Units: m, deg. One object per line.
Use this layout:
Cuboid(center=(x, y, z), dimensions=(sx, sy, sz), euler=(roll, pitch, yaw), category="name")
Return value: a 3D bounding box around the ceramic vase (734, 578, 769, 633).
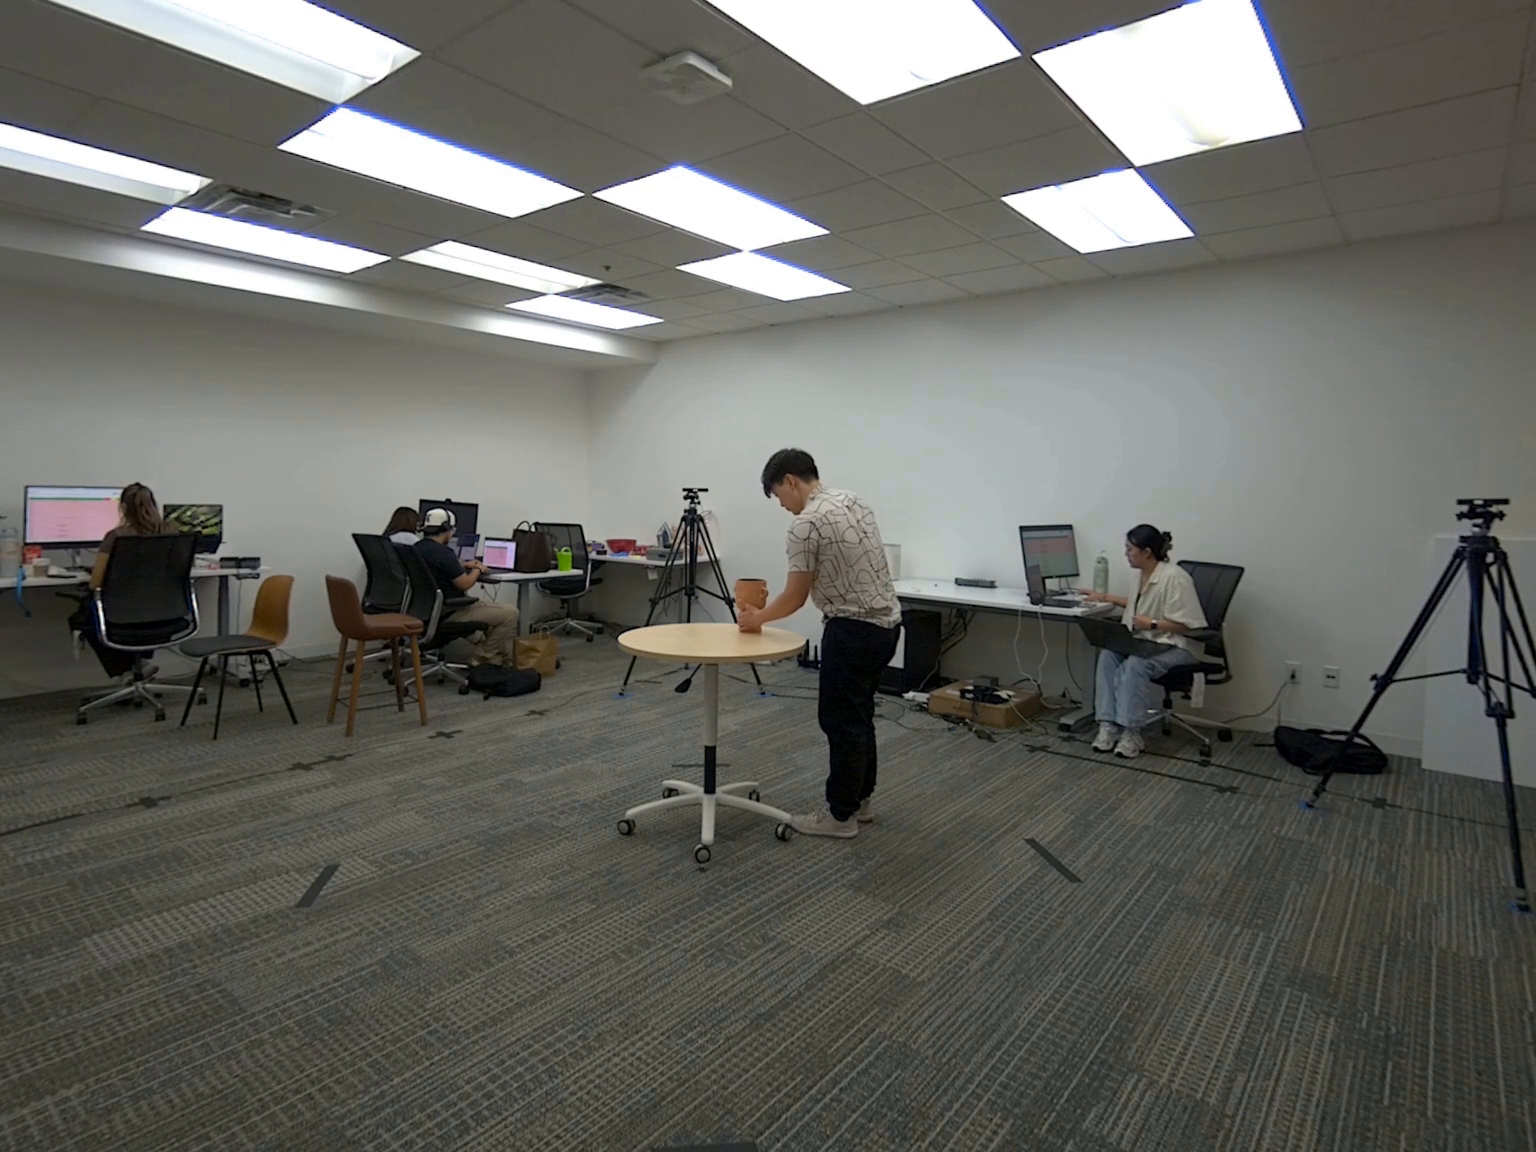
Cuboid(center=(-0.078, 0.124, 3.678), dimensions=(0.134, 0.219, 0.160), euler=(0, 2, -6), category="ceramic vase")
